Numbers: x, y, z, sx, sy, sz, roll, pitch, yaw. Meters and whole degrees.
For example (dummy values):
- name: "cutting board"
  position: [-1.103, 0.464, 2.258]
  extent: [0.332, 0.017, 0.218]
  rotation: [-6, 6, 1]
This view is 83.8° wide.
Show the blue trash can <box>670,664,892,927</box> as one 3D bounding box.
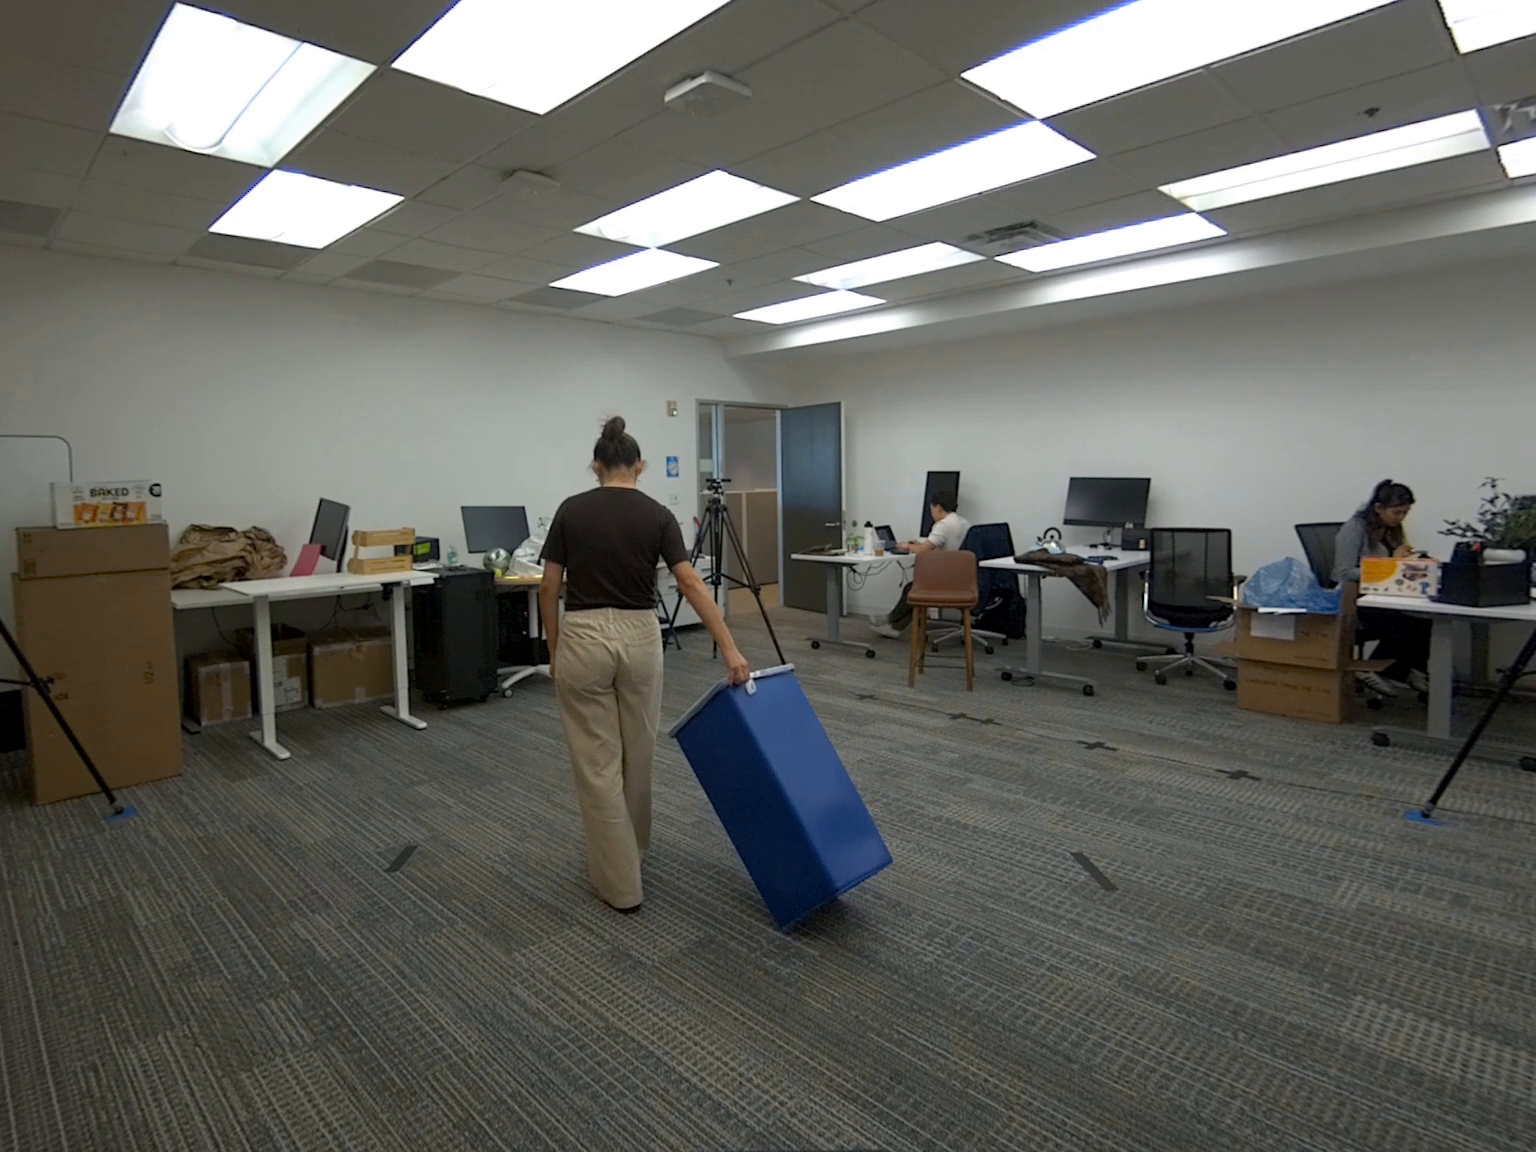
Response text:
- name: "blue trash can"
  position: [0.038, 0.709, 2.811]
  extent: [0.367, 0.734, 0.374]
  rotation: [-3, -35, -46]
